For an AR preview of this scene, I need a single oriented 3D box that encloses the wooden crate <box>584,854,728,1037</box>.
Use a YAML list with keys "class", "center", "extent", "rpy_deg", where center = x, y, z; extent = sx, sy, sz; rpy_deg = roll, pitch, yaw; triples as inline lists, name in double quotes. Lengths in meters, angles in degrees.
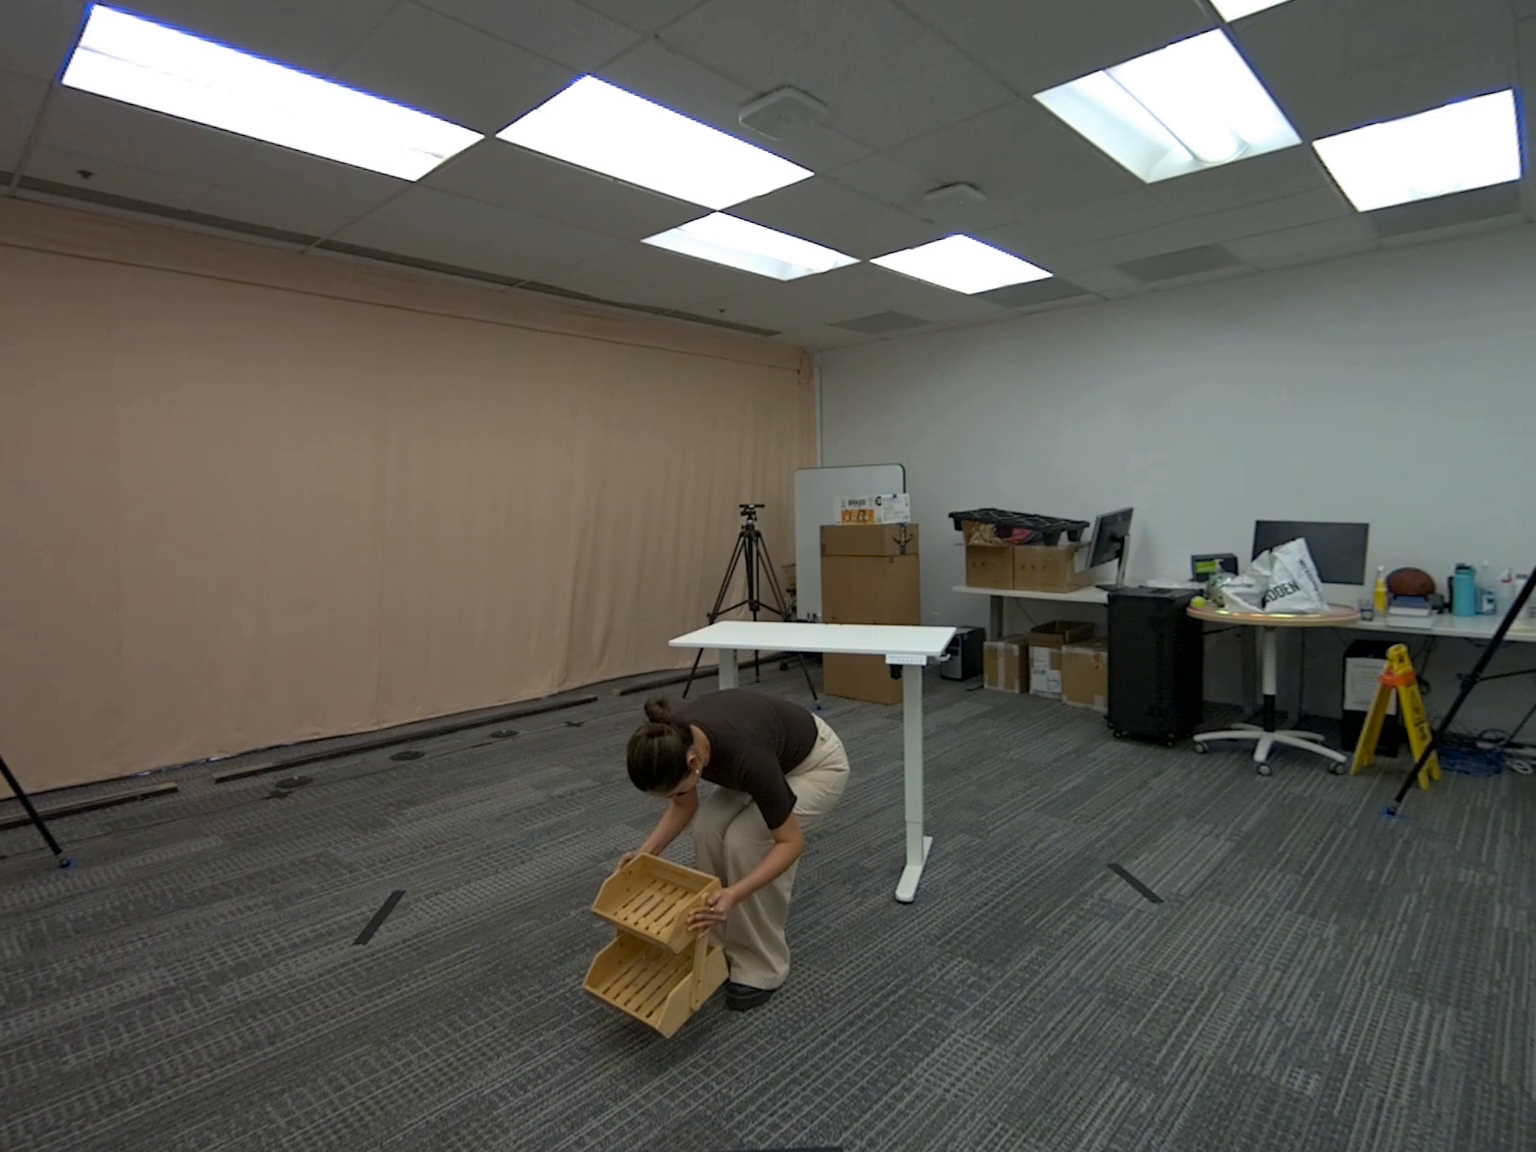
- class: "wooden crate"
  center: [-0.304, 0.955, 2.194]
  extent: [0.335, 0.270, 0.296]
  rpy_deg: [-1, 18, 41]
